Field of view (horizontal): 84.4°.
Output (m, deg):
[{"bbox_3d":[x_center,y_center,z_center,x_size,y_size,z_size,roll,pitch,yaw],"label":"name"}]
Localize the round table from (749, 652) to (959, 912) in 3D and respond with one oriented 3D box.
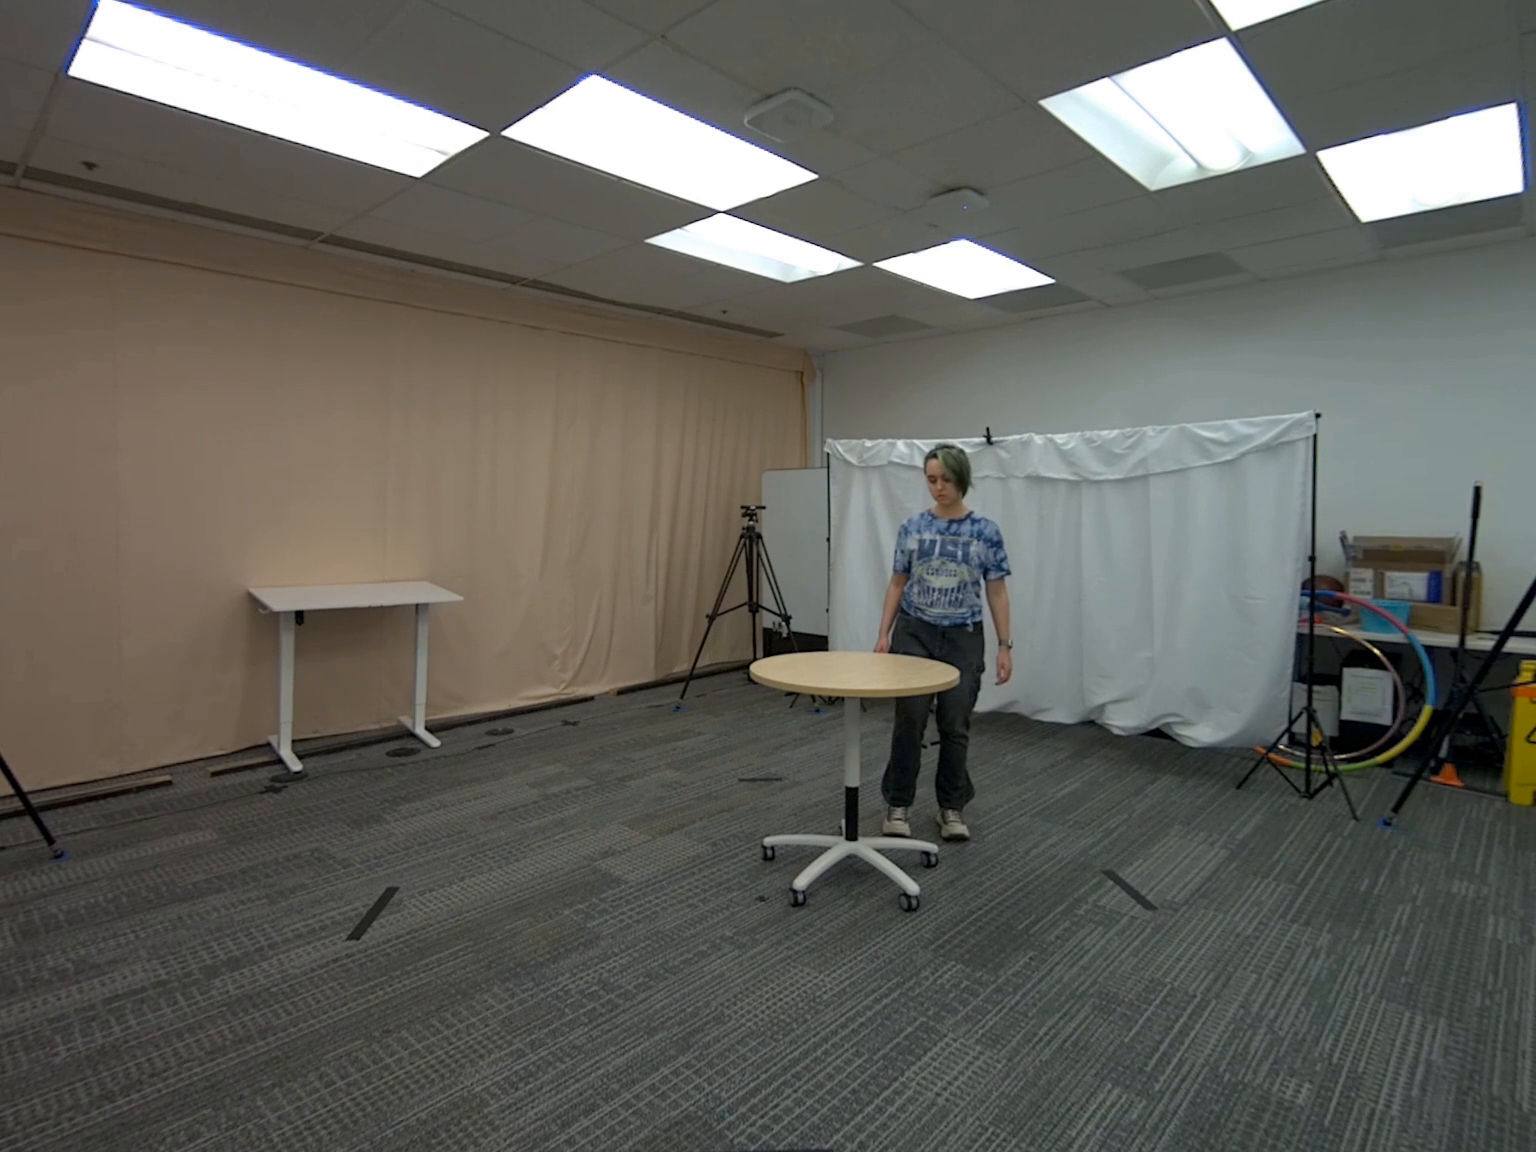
[{"bbox_3d":[0.309,0.739,3.142,0.763,0.792,0.766,0,3,-2],"label":"round table"}]
